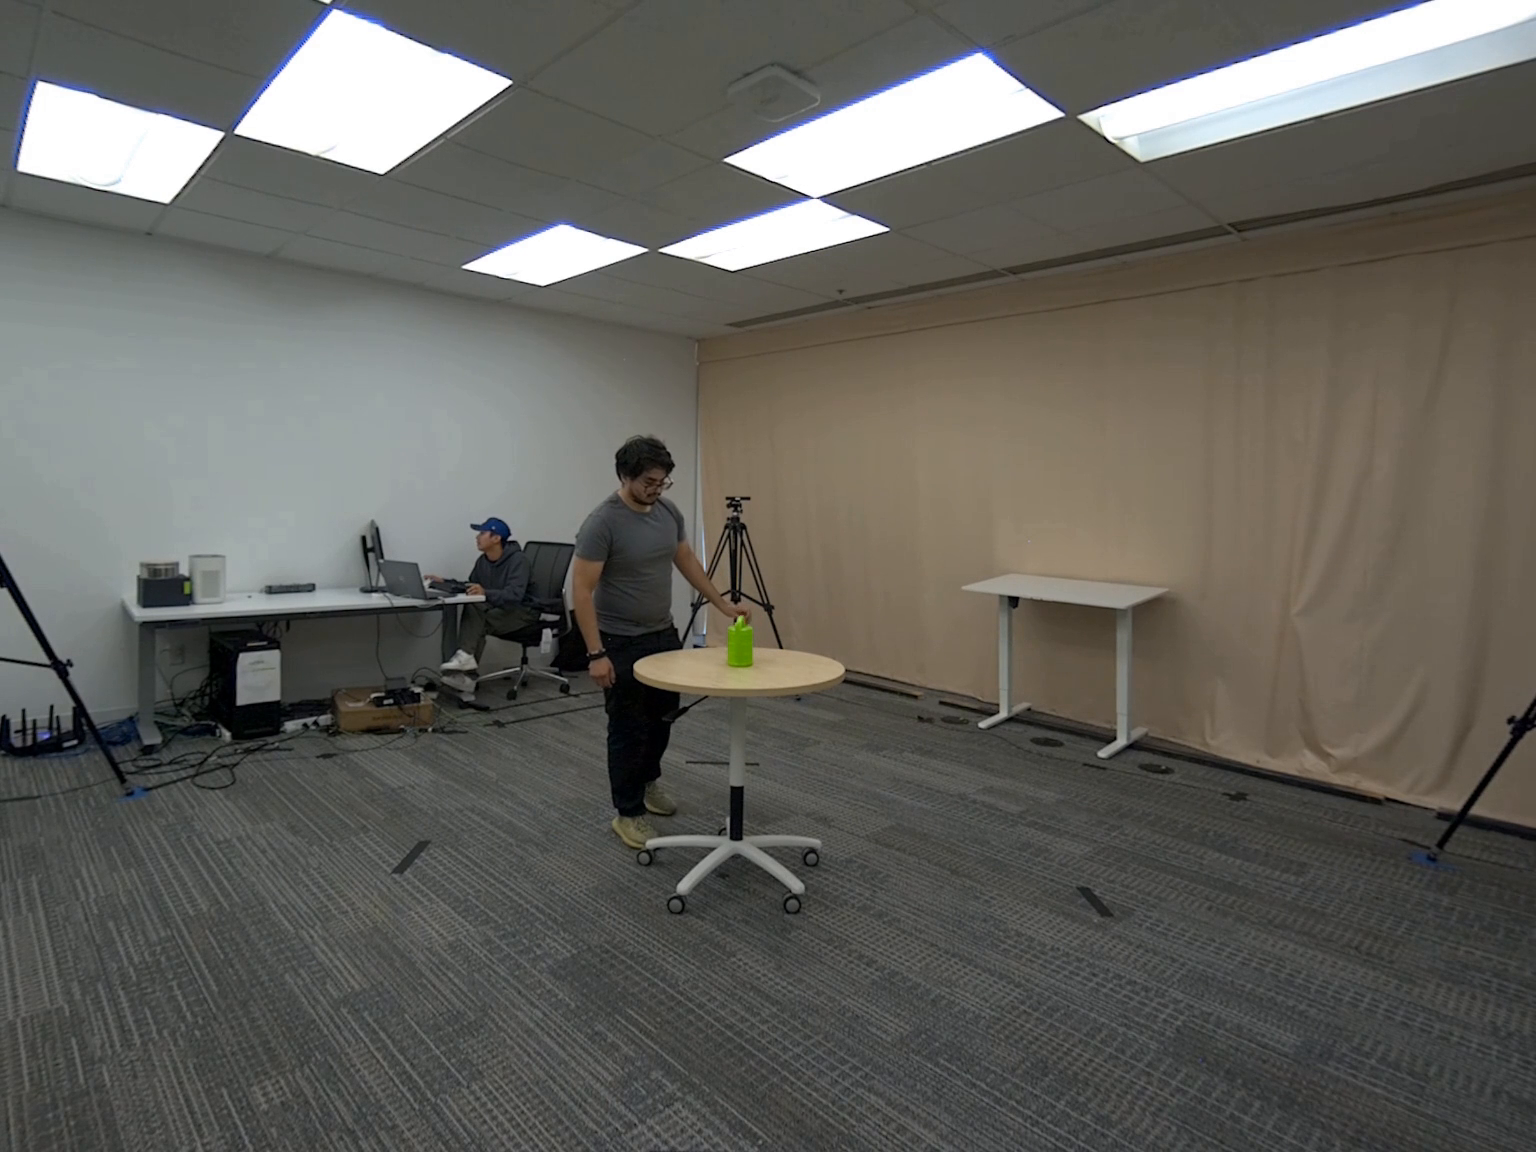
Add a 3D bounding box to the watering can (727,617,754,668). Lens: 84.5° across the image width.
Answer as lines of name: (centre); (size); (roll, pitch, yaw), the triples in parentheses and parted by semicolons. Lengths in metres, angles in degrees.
watering can: (-0.125, 0.244, 3.043); (0.100, 0.176, 0.274); (1, 4, 24)
